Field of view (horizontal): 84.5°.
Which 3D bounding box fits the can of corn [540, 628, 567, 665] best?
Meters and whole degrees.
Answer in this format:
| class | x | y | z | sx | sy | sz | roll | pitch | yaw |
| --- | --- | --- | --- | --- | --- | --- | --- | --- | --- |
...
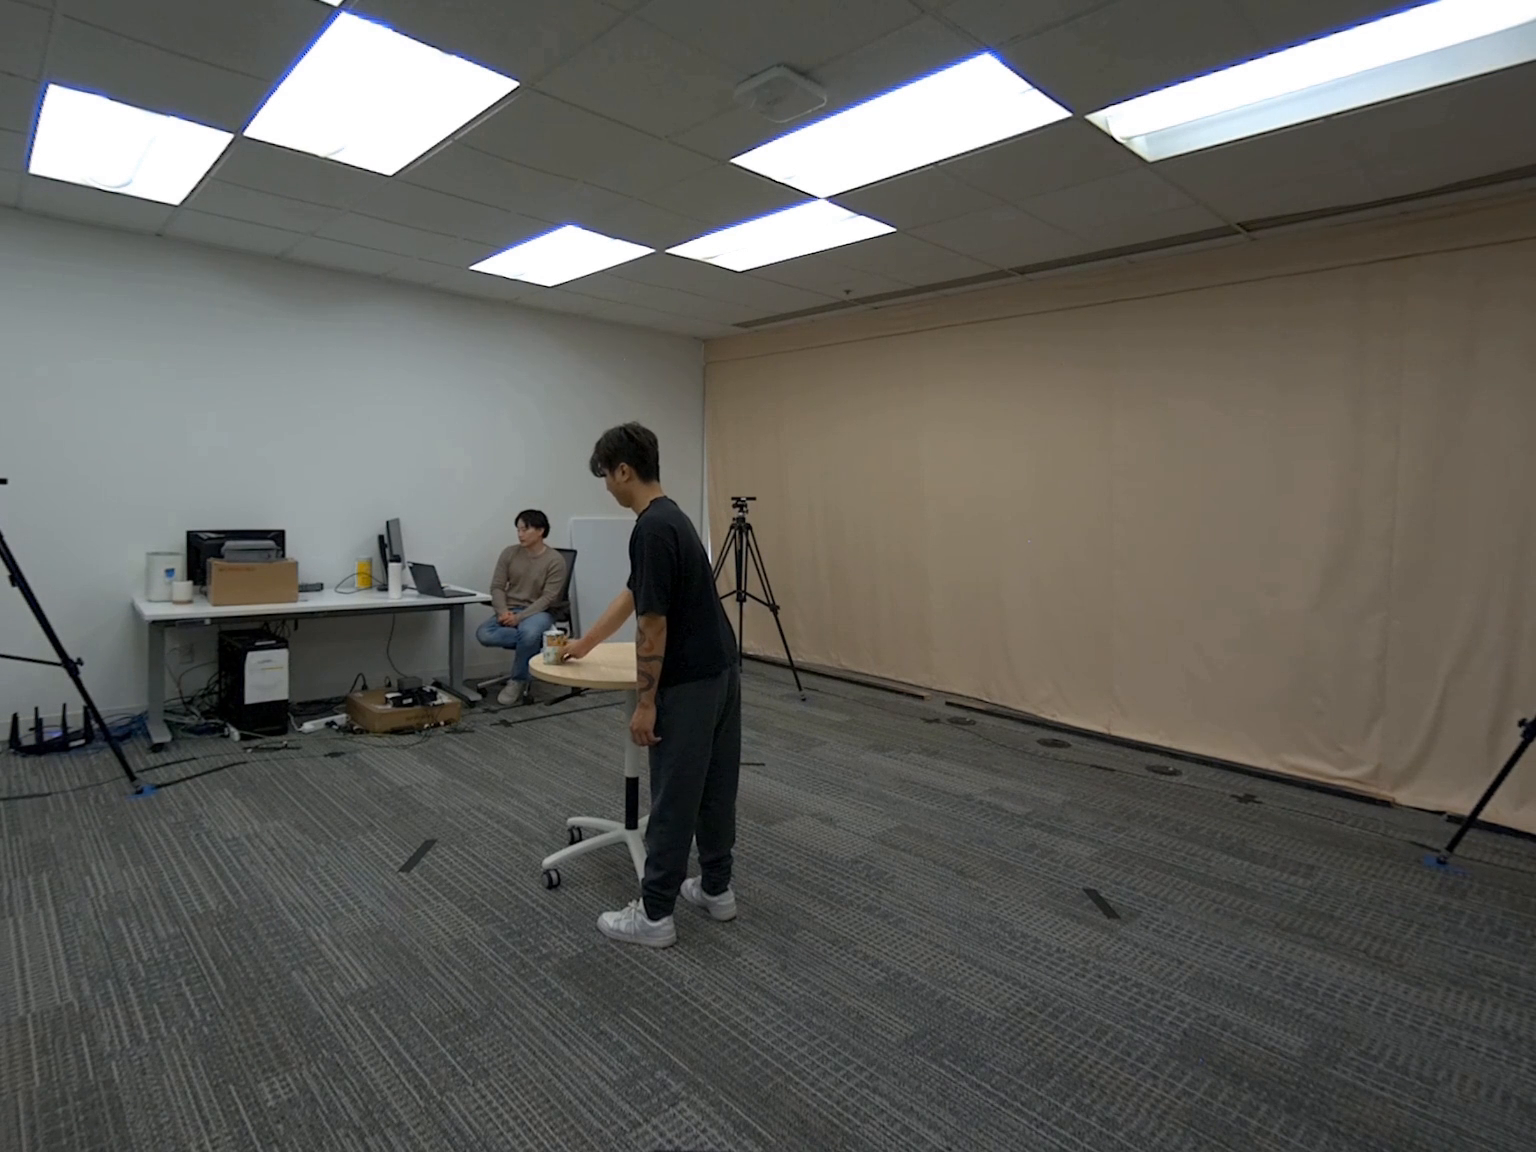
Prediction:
| class | x | y | z | sx | sy | sz | roll | pitch | yaw |
| --- | --- | --- | --- | --- | --- | --- | --- | --- | --- |
| can of corn | -0.778 | 0.259 | 3.045 | 0.074 | 0.111 | 0.074 | -1 | 4 | -1 |
